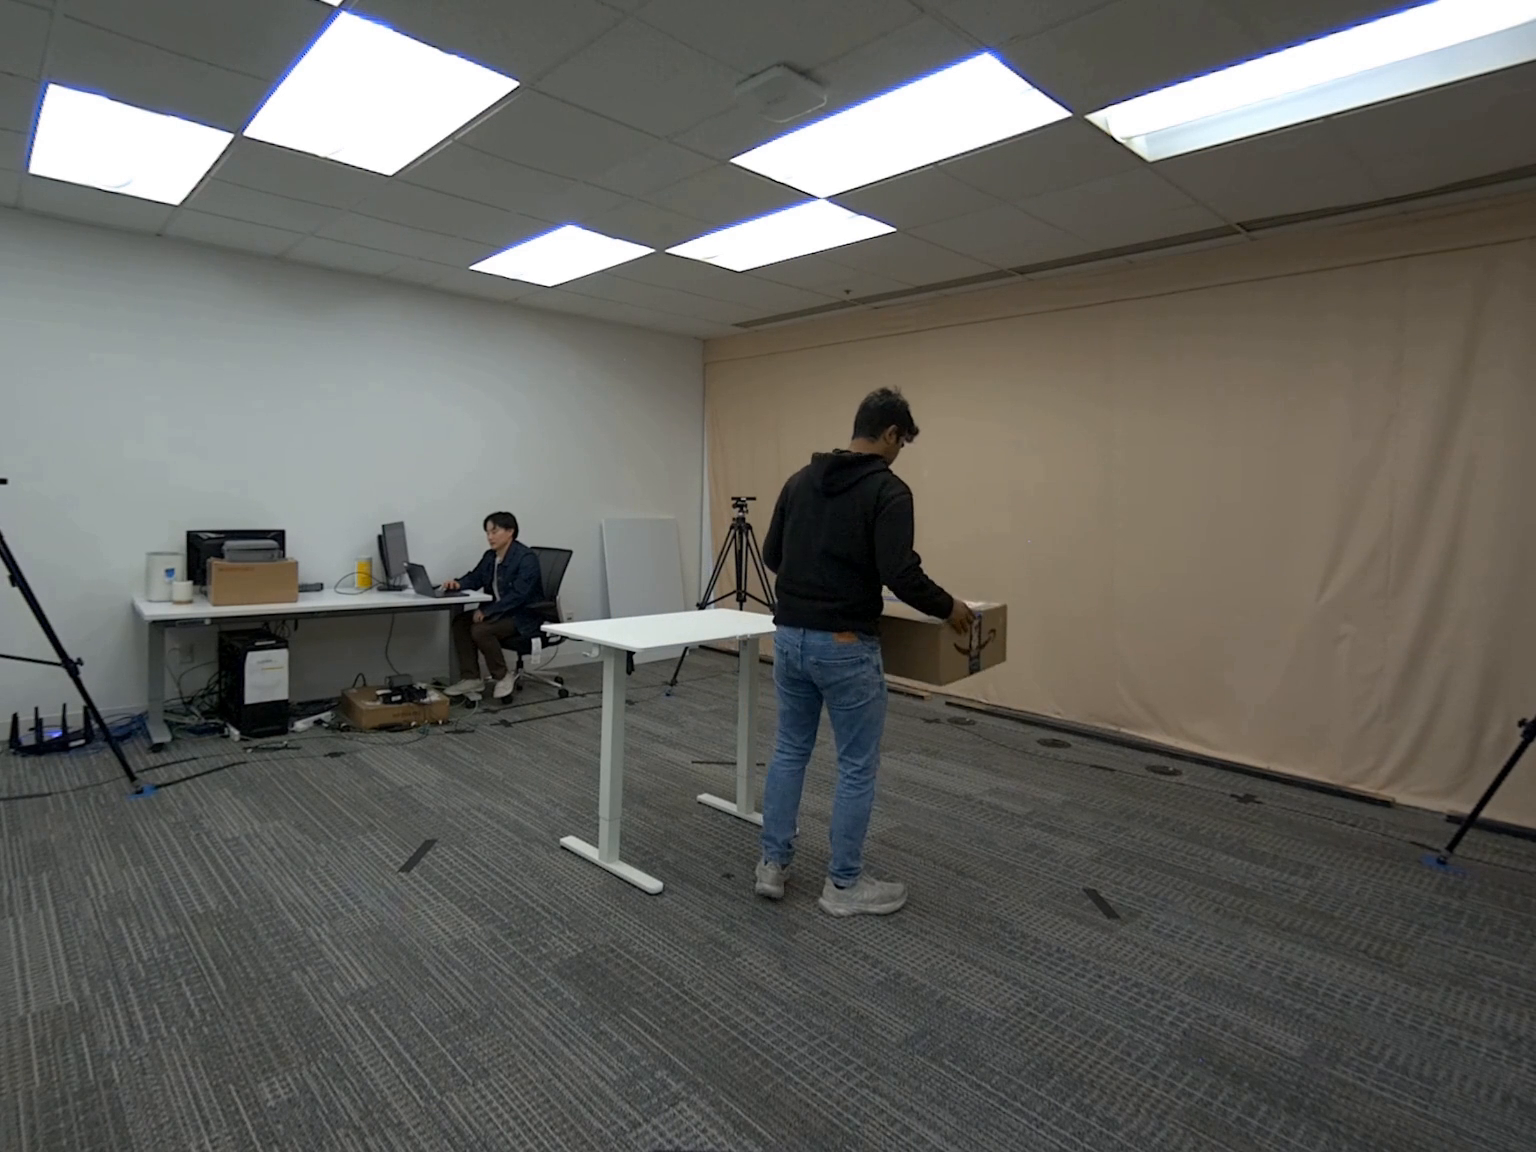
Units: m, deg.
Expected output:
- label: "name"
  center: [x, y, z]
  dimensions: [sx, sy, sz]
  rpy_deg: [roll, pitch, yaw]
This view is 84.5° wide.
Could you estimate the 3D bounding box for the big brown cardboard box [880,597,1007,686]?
- label: "big brown cardboard box"
  center: [0.511, 0.214, 3.112]
  dimensions: [0.409, 0.232, 0.604]
  rpy_deg: [-10, 12, -43]
